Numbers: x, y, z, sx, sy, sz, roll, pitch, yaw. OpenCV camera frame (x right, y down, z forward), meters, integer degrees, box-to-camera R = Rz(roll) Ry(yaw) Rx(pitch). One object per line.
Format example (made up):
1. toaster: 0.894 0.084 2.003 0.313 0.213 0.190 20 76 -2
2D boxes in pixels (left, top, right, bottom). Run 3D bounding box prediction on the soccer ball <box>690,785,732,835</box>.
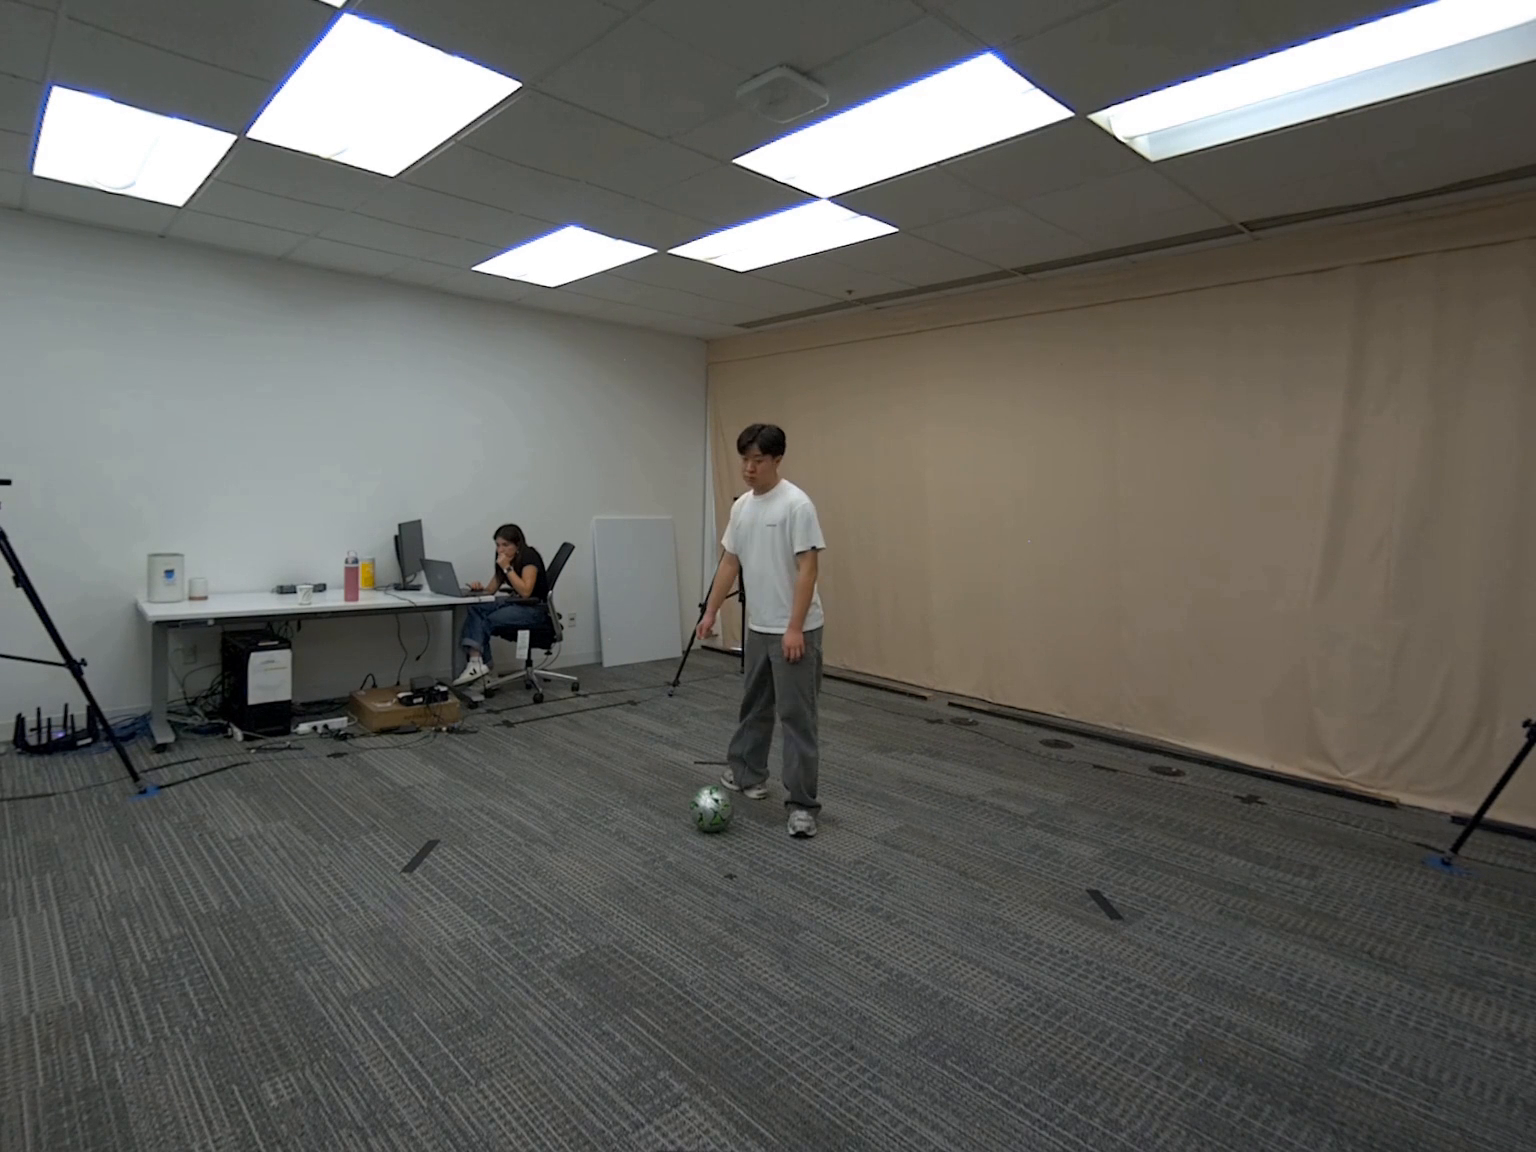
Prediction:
1. soccer ball: -0.244 0.978 3.527 0.187 0.187 0.188 1 4 -1
